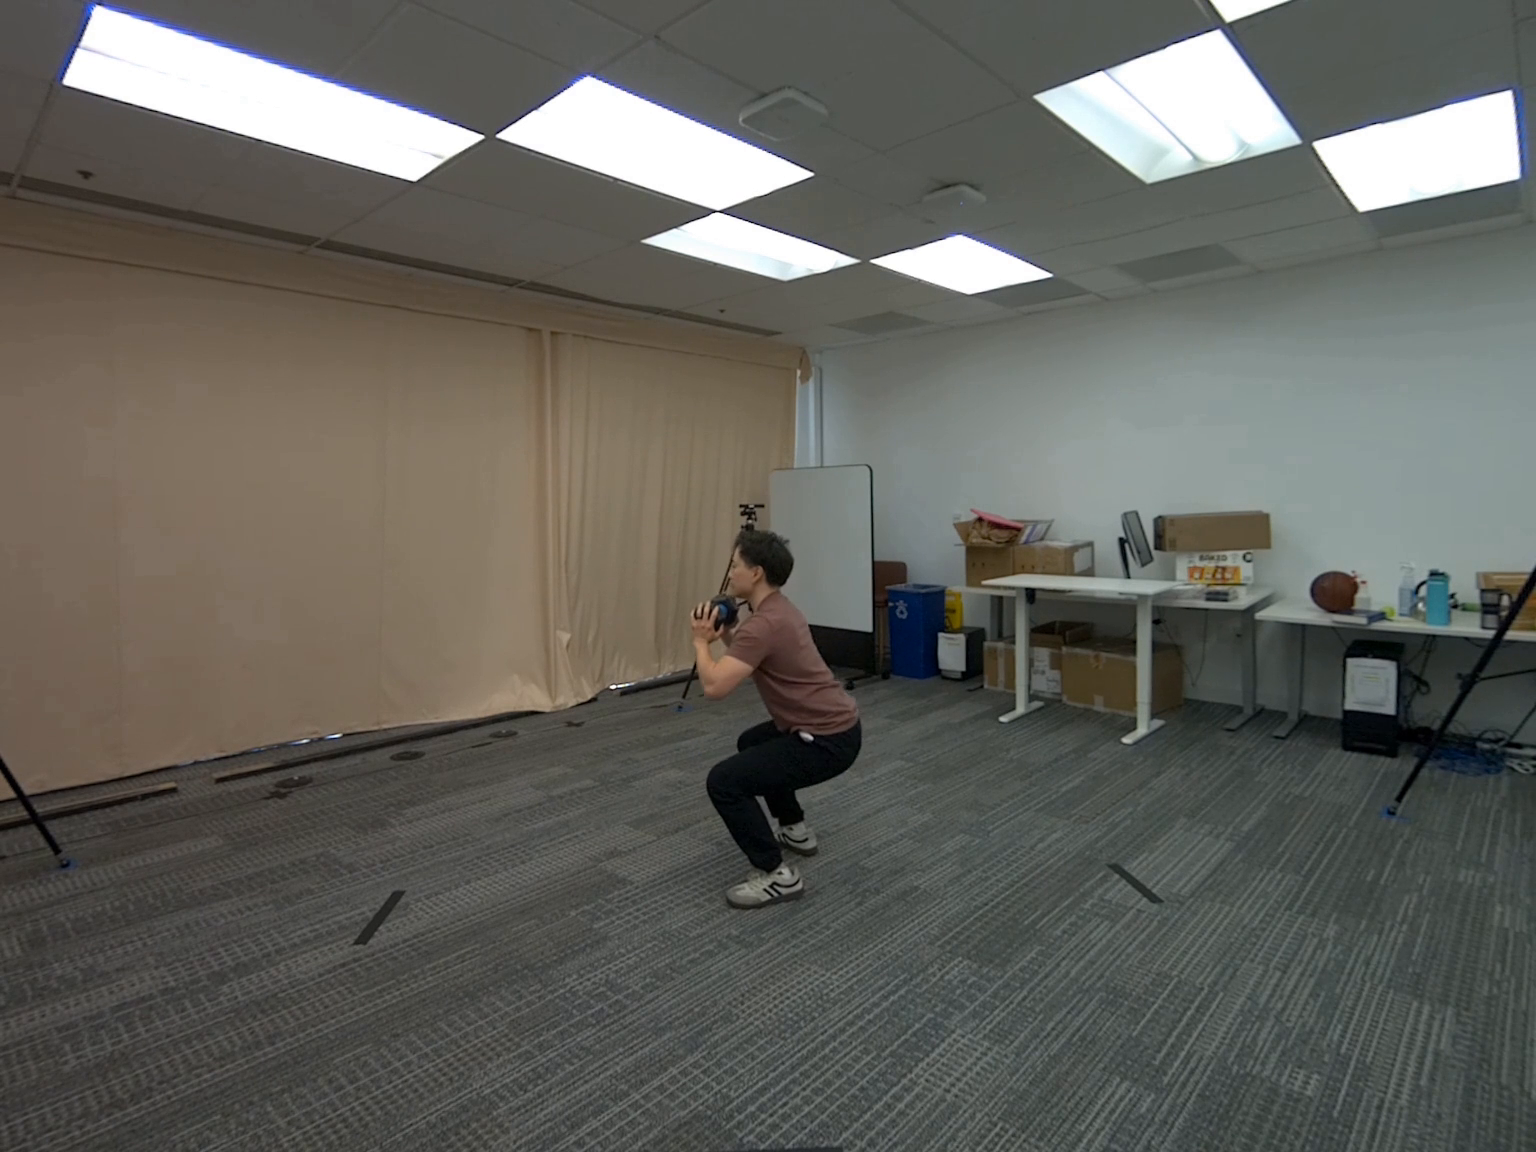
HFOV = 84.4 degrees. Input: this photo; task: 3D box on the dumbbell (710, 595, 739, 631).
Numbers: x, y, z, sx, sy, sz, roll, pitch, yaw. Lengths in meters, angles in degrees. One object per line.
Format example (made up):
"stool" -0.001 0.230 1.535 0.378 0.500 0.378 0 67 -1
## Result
"dumbbell" -0.189 0.147 3.222 0.125 0.108 0.291 -3 9 12
